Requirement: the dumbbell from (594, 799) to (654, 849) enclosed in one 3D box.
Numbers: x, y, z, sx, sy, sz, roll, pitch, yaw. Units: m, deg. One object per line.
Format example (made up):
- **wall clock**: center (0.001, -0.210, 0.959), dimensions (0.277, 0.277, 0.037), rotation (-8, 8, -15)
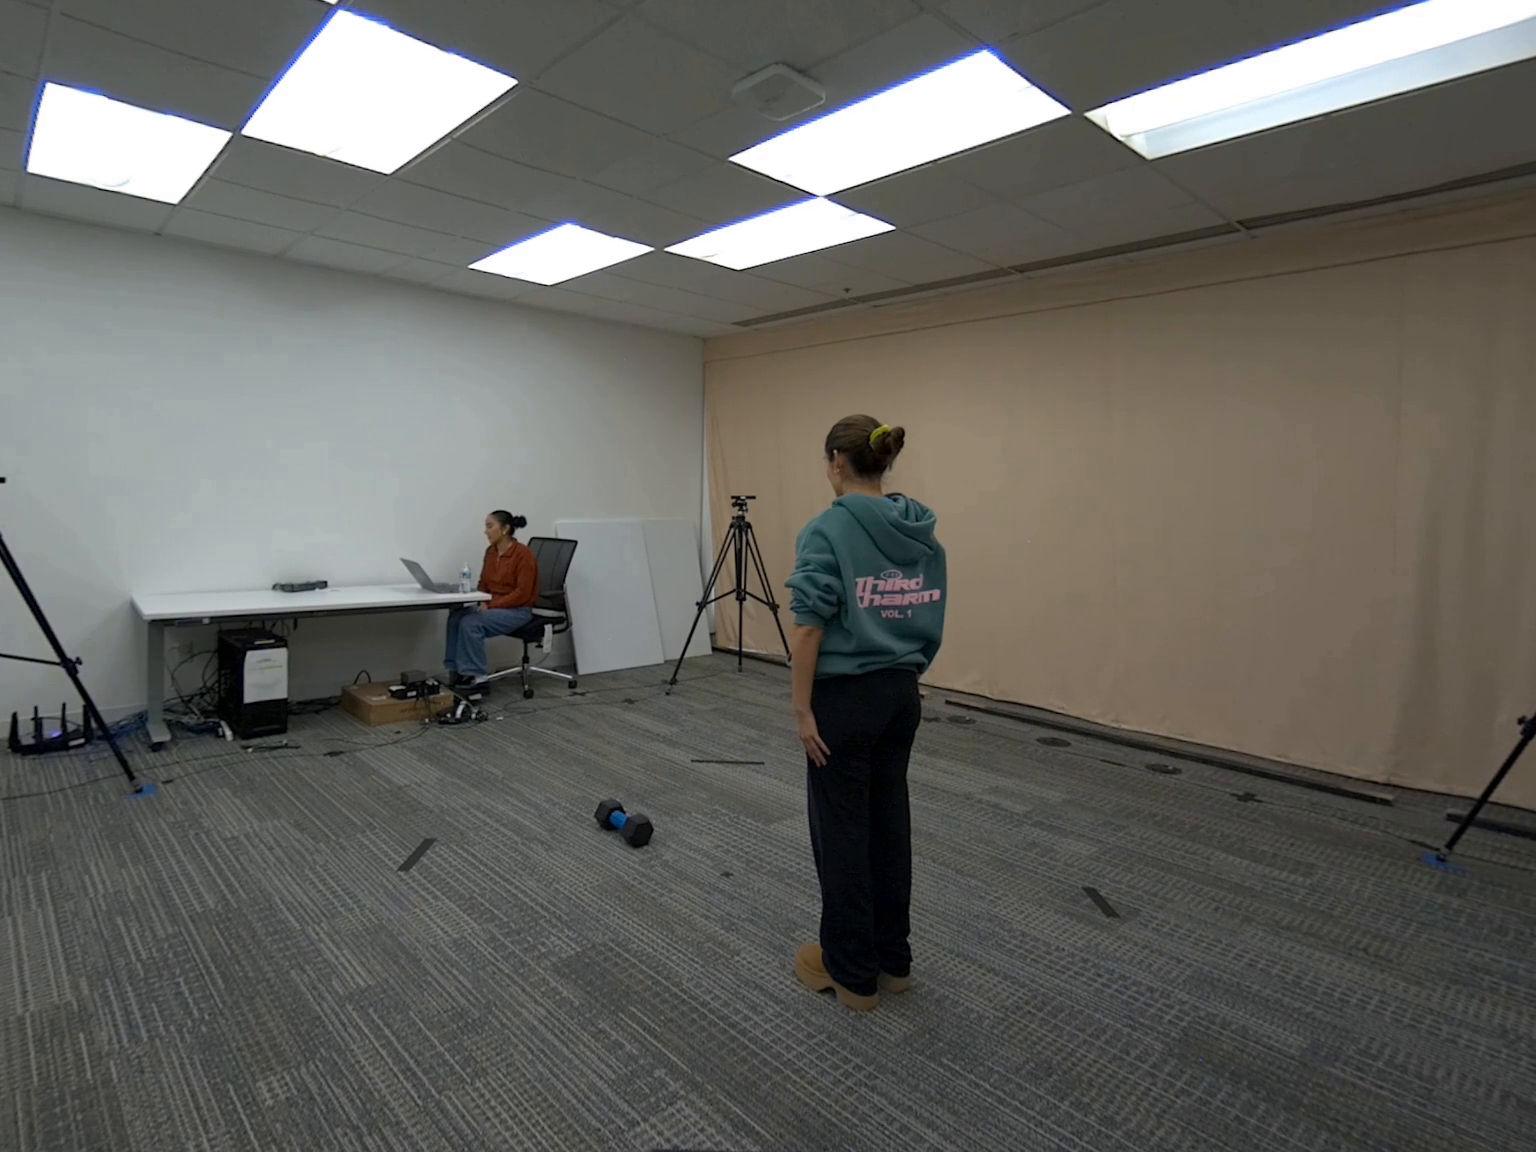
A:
- **dumbbell**: center (-0.600, 1.009, 3.440), dimensions (0.108, 0.120, 0.301), rotation (-36, 26, -32)
